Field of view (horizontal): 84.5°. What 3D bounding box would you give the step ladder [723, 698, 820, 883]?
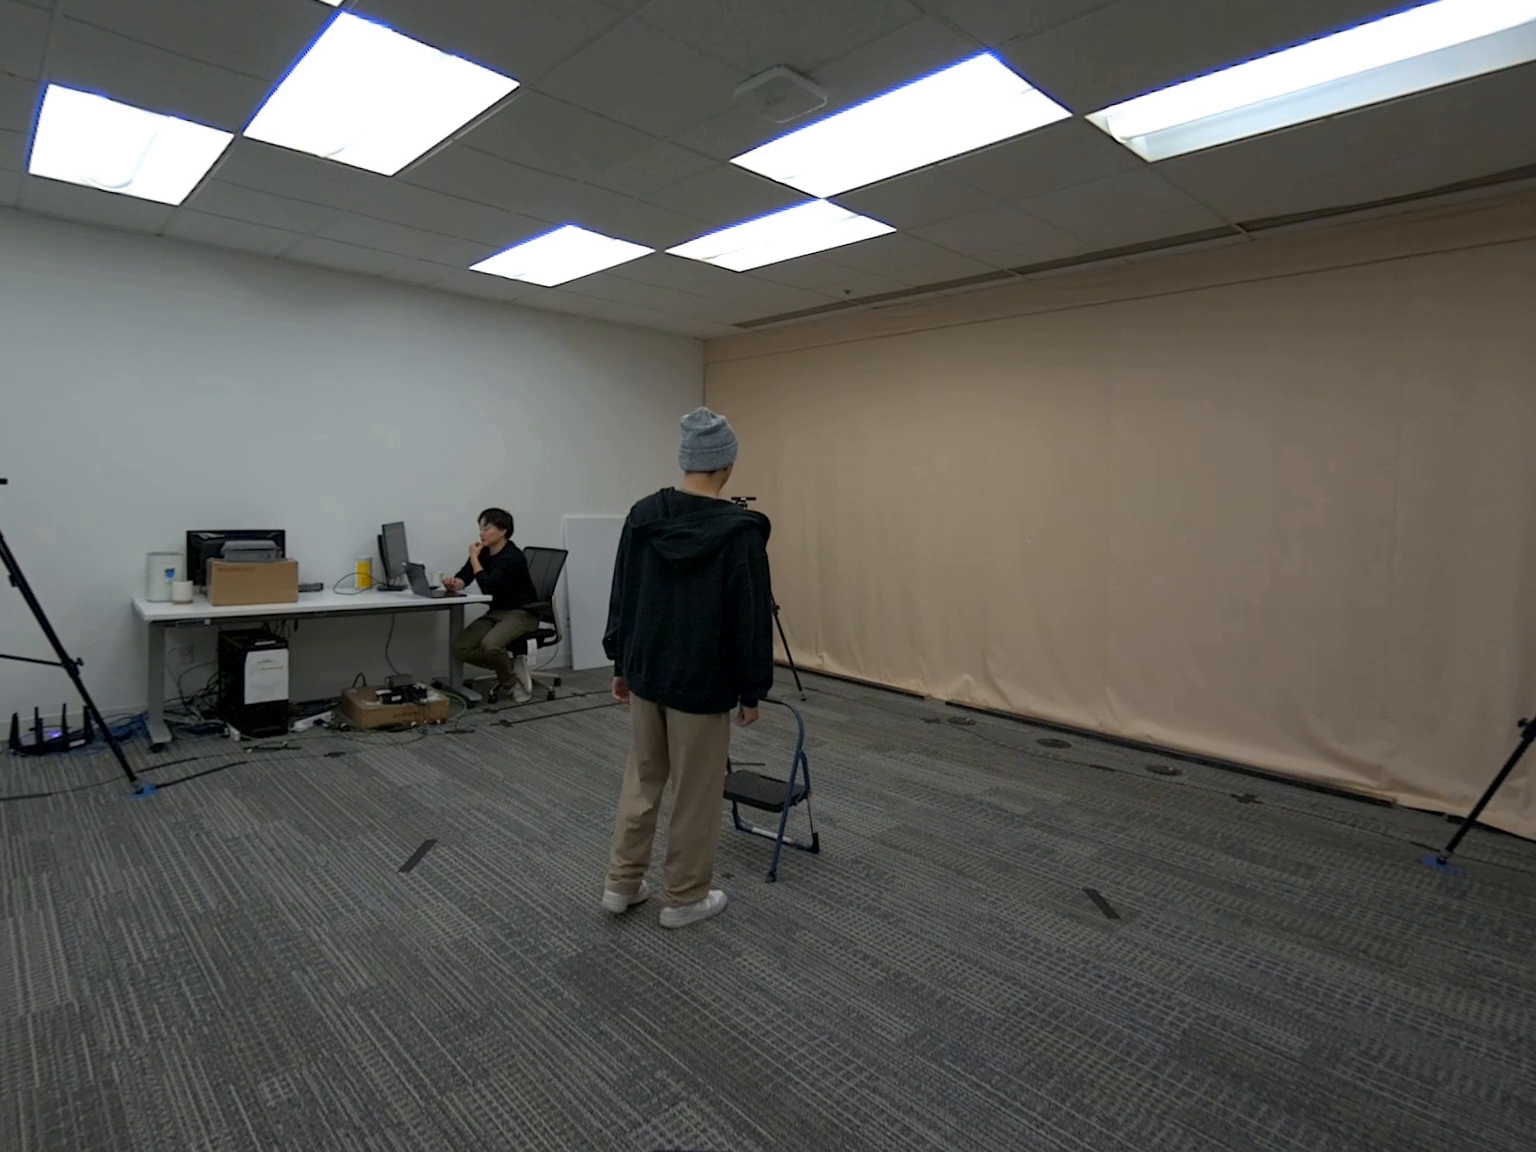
[{"bbox_3d":[-0.055,0.789,3.306,0.441,0.604,0.342,4,4,36],"label":"step ladder"}]
